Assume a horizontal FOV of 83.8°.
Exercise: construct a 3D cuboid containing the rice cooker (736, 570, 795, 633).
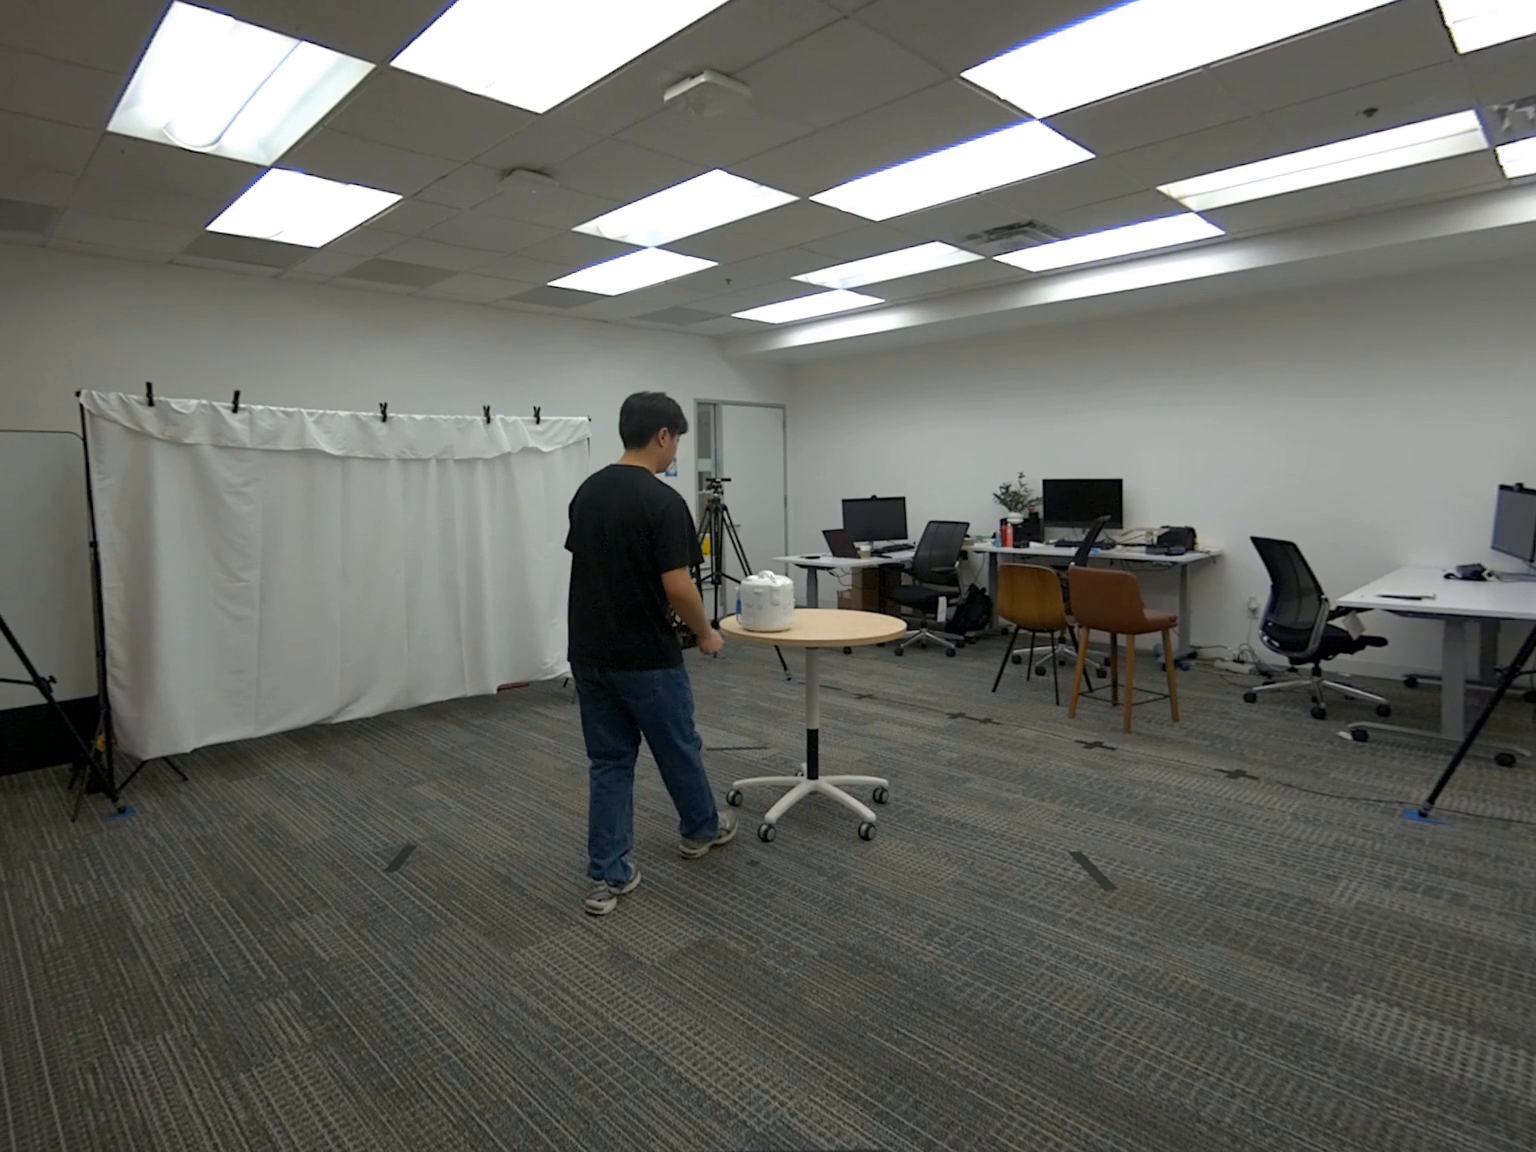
[{"bbox_3d":[-0.001,0.095,3.385,0.214,0.232,0.225,-3,6,-18],"label":"rice cooker"}]
